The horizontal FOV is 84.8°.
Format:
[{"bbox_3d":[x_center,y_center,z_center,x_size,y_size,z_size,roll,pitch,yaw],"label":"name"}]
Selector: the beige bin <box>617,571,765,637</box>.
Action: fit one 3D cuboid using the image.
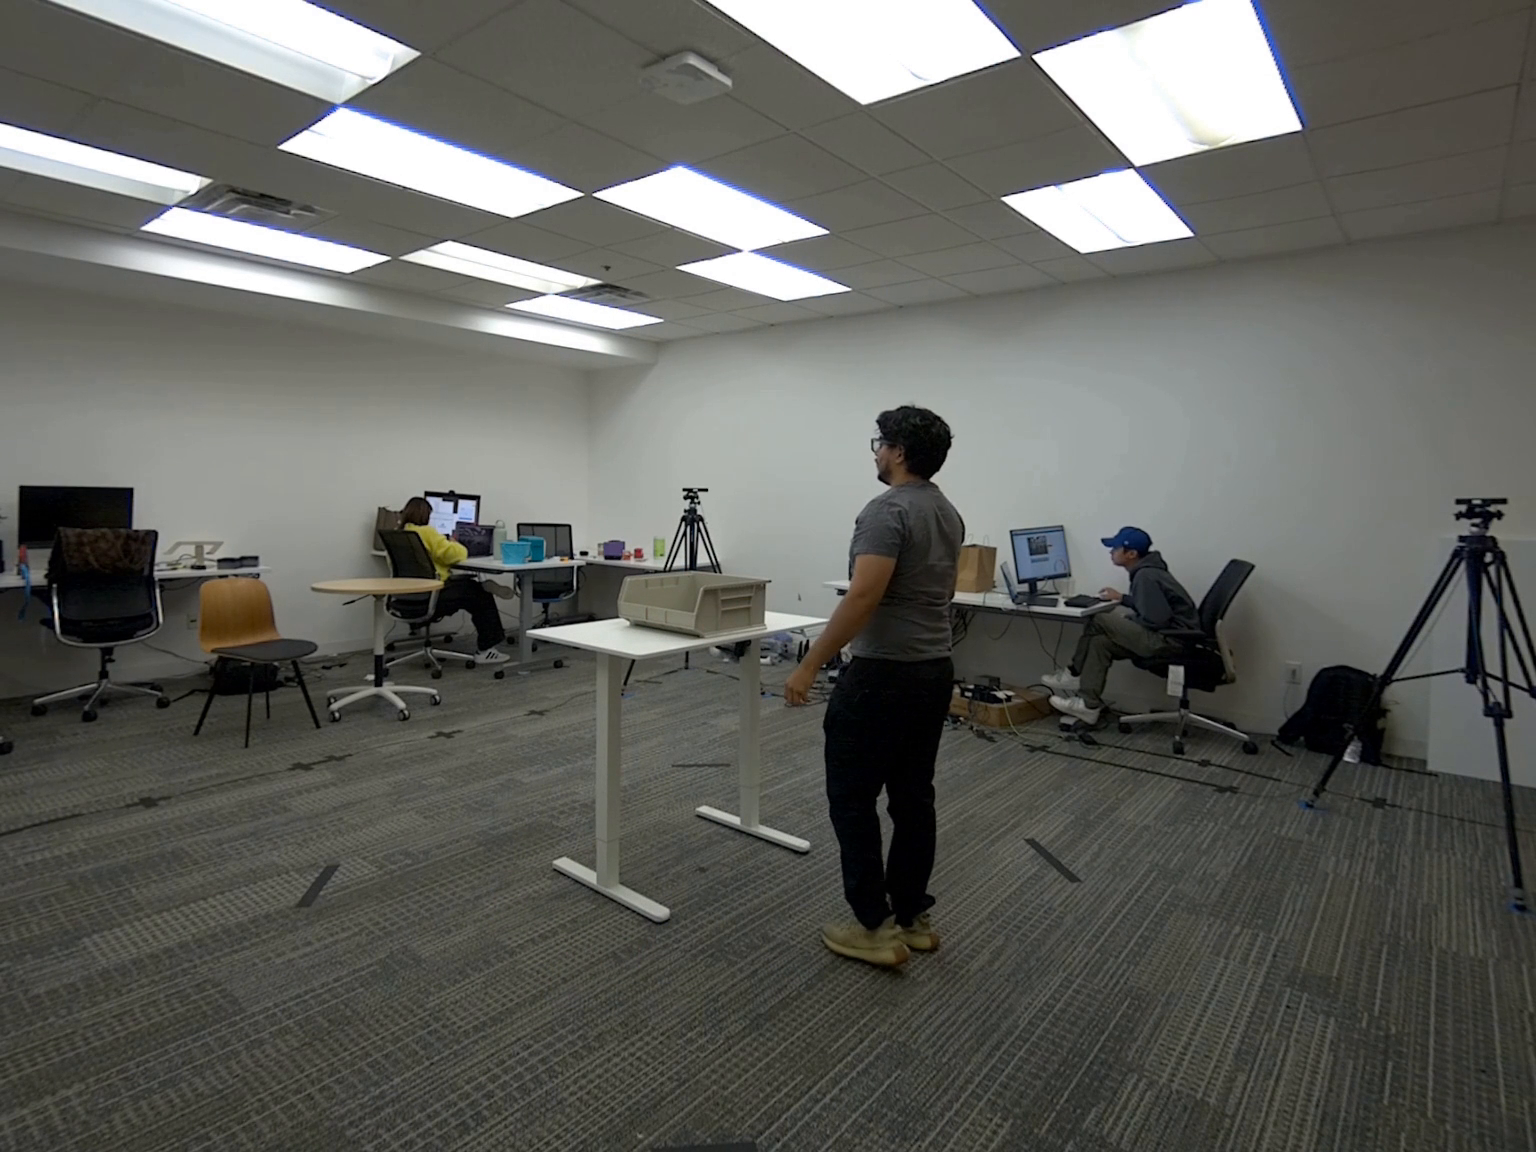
[{"bbox_3d":[-0.276,0.097,3.100,0.437,0.188,0.366,5,6,43],"label":"beige bin"}]
